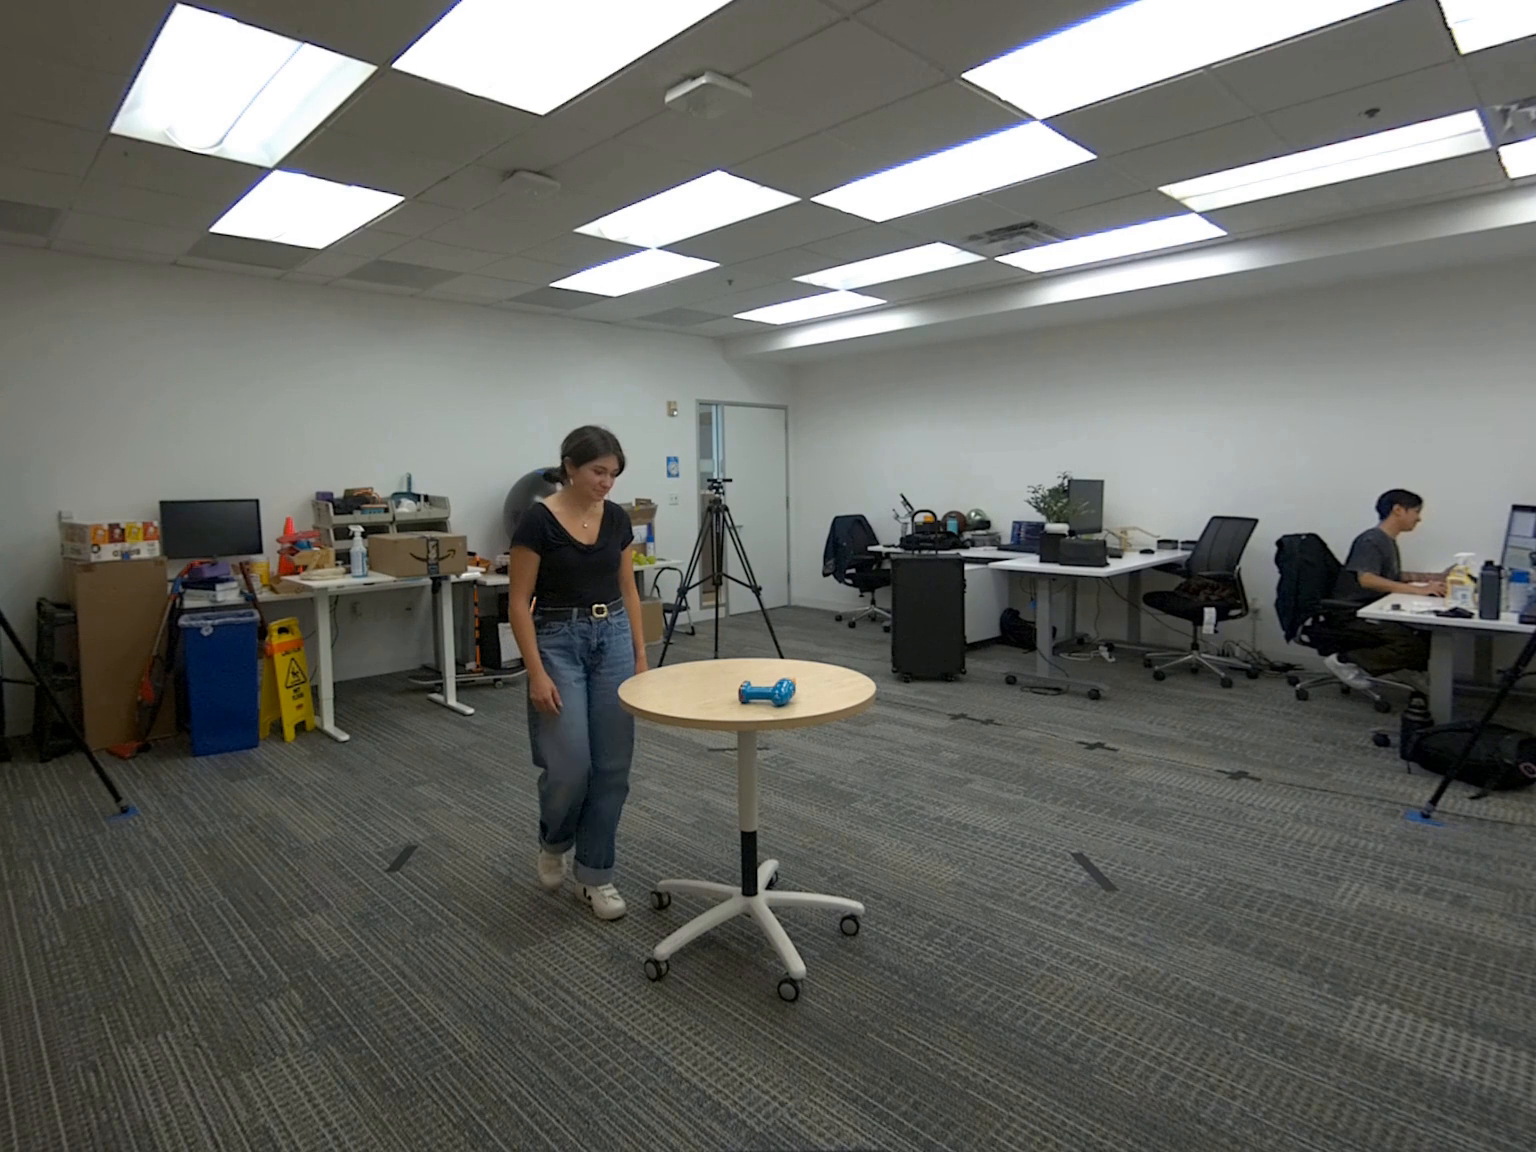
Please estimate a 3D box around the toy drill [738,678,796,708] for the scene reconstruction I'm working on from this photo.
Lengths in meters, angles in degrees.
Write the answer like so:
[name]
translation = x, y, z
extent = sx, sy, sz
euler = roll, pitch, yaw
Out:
[toy drill]
translation = 0.020, 0.318, 2.363
extent = 0.149, 0.060, 0.168
euler = -1, 13, 20
